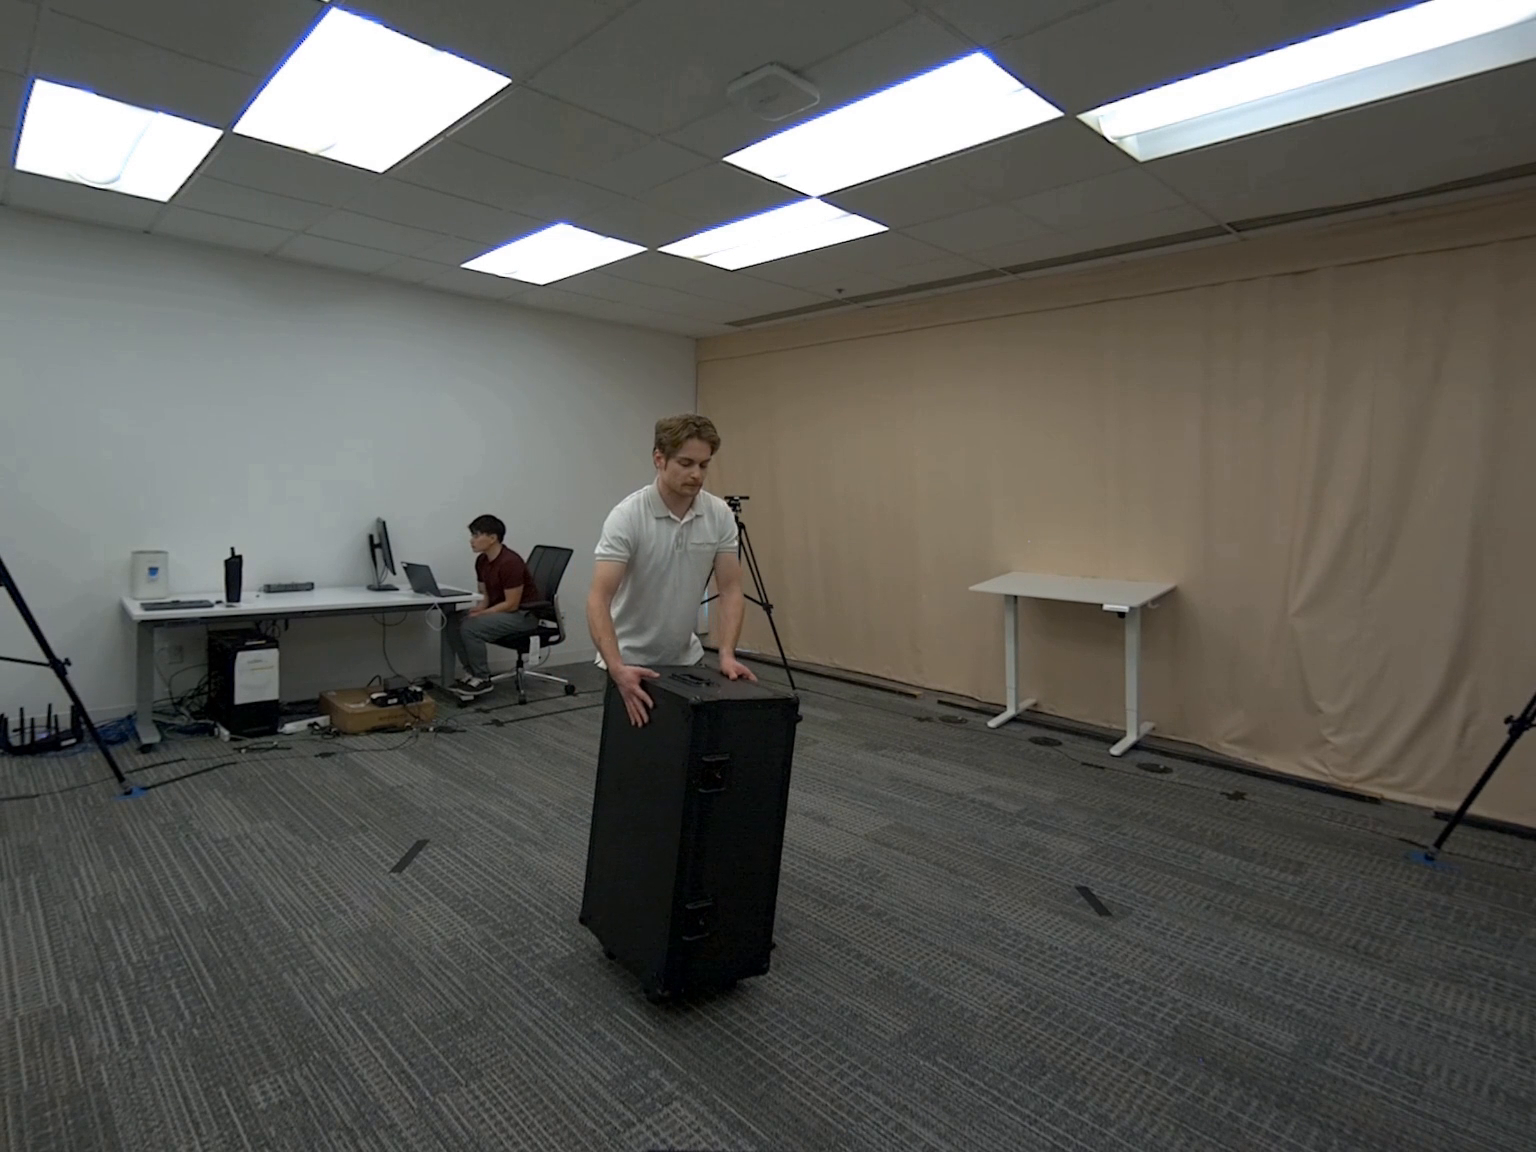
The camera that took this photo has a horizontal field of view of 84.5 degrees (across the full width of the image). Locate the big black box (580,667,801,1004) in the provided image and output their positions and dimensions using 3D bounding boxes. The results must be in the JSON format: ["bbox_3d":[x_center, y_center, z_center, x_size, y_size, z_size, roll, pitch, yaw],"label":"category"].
[{"bbox_3d":[-0.247,0.734,2.444,0.376,0.868,0.537,5,1,-37],"label":"big black box"}]
